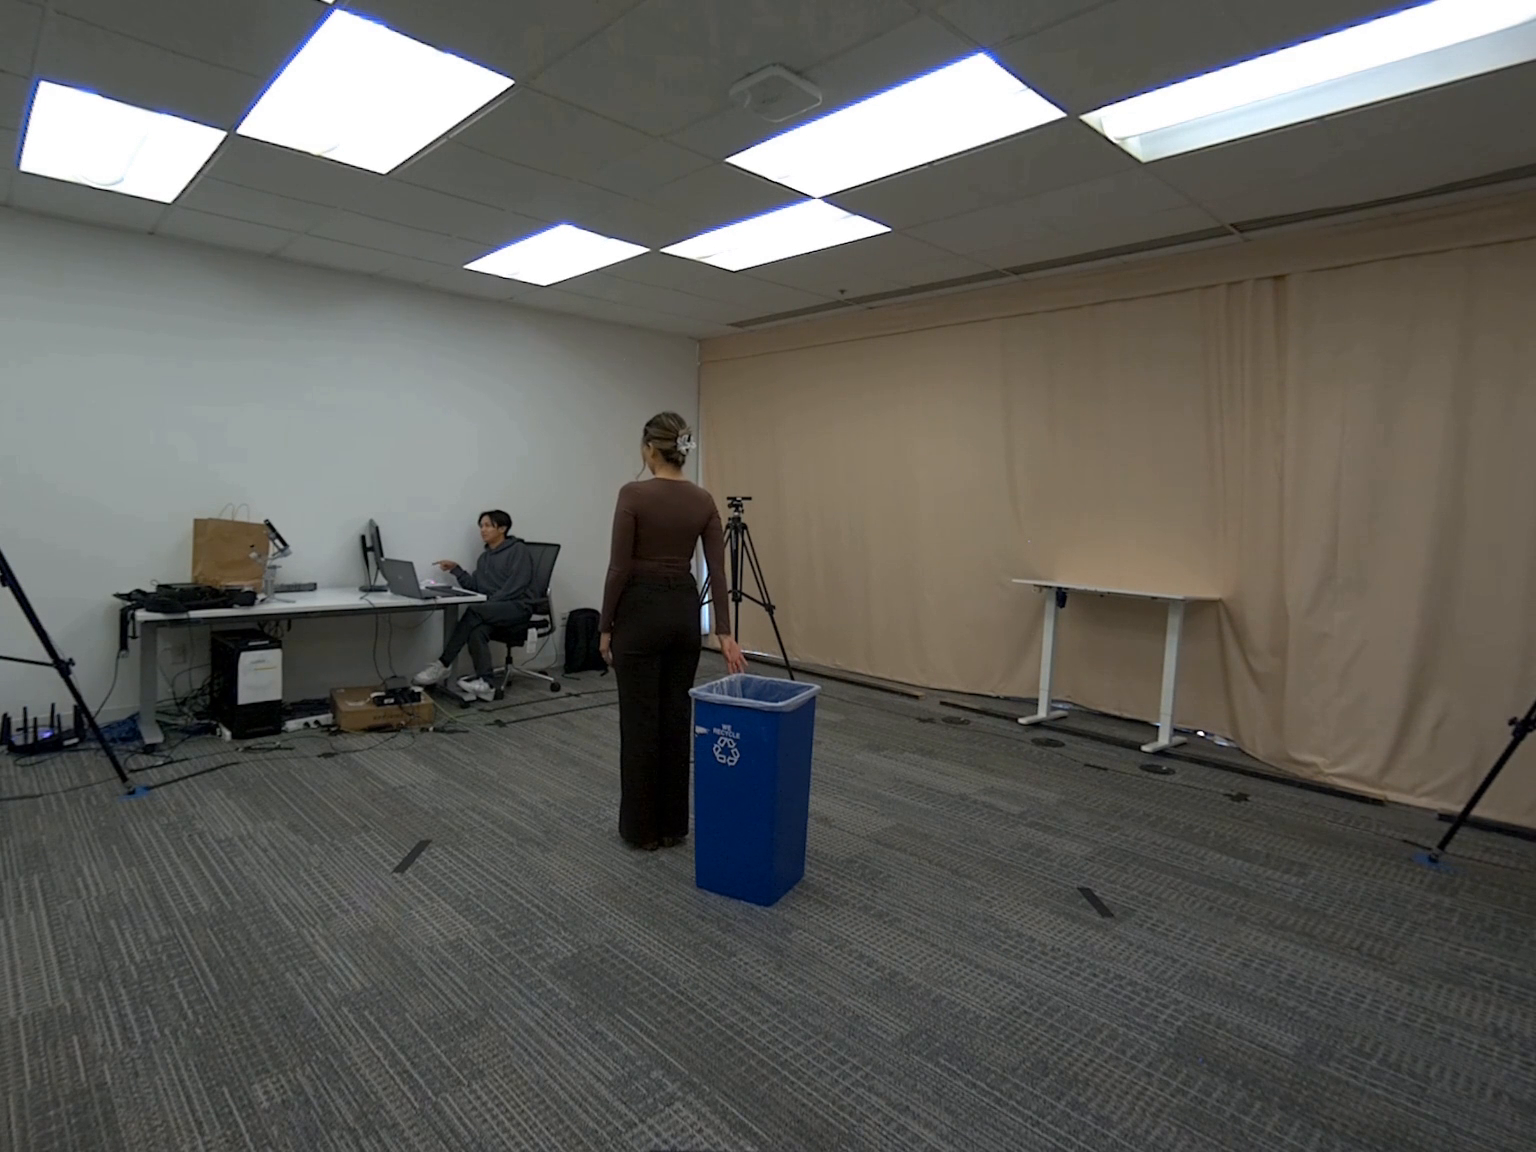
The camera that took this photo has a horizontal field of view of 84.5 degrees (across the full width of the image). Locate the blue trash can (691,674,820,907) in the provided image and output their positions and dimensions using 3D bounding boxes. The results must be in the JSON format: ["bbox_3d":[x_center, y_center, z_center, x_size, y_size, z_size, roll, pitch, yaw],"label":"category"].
[{"bbox_3d":[-0.062,0.754,3.048,0.386,0.711,0.367,3,5,27],"label":"blue trash can"}]
